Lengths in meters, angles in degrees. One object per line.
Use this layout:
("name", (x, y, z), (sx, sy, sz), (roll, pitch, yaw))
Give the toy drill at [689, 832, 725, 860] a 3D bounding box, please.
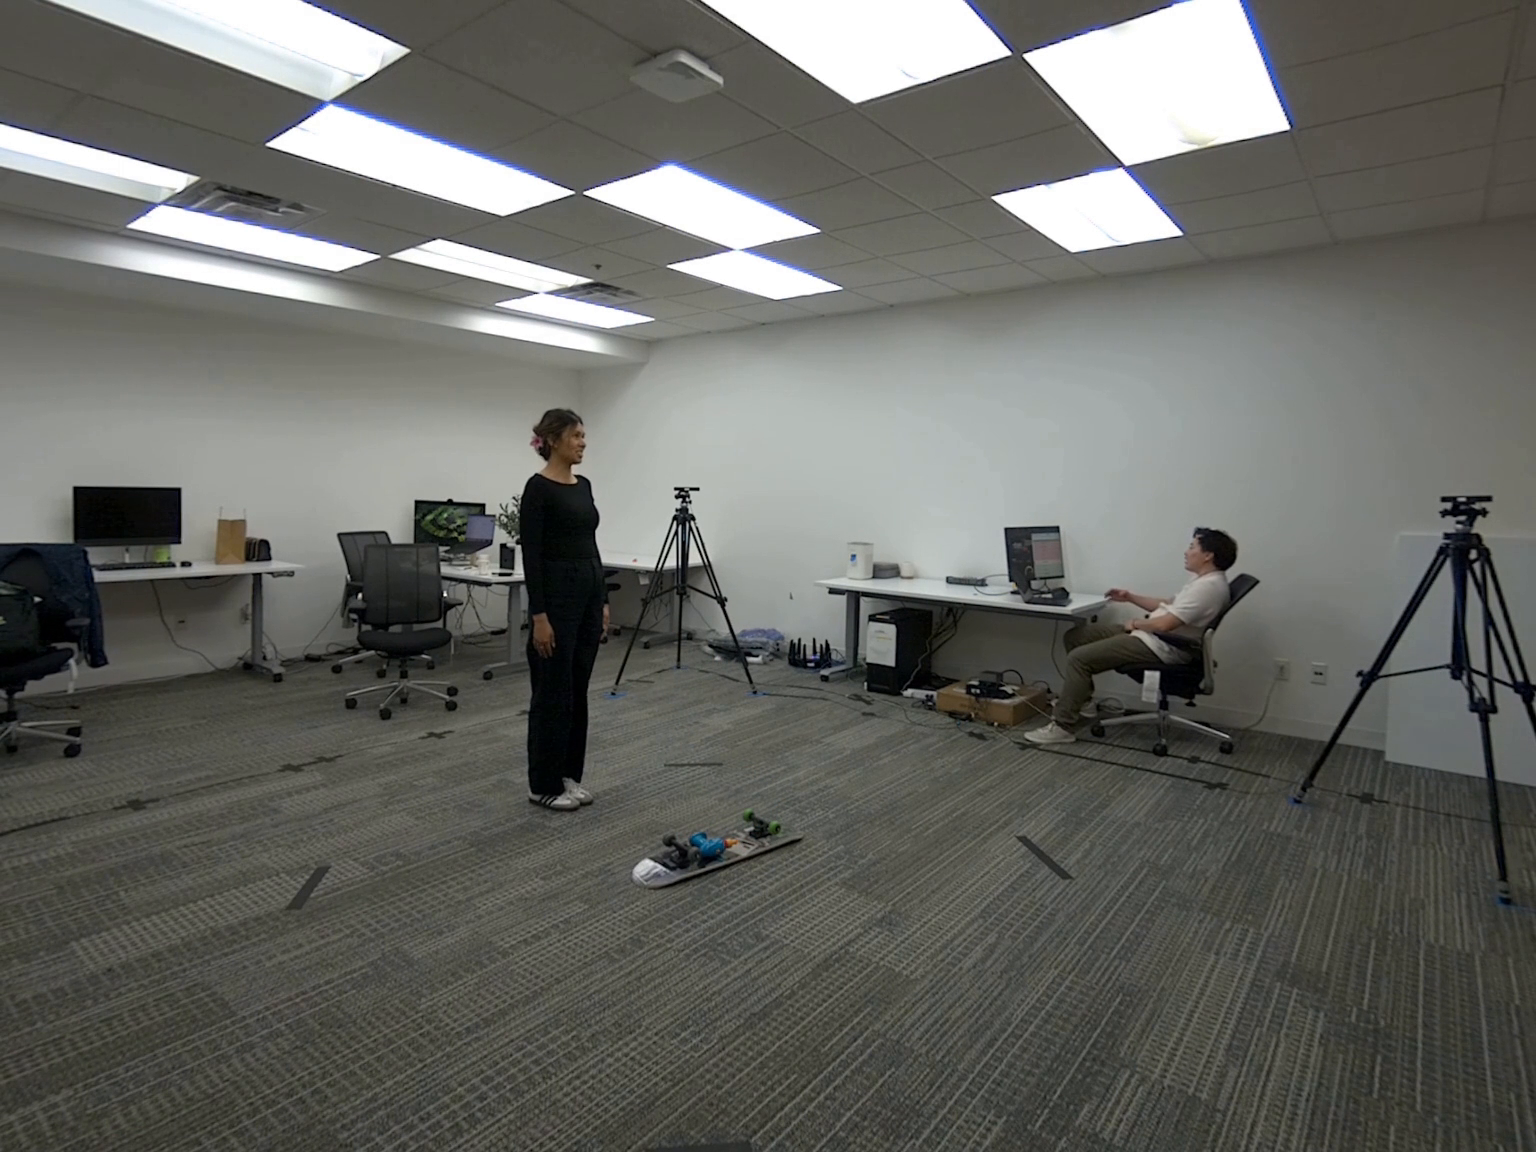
("toy drill", (-0.207, 0.997, 3.184), (0.166, 0.061, 0.150), (-10, 9, -29))
